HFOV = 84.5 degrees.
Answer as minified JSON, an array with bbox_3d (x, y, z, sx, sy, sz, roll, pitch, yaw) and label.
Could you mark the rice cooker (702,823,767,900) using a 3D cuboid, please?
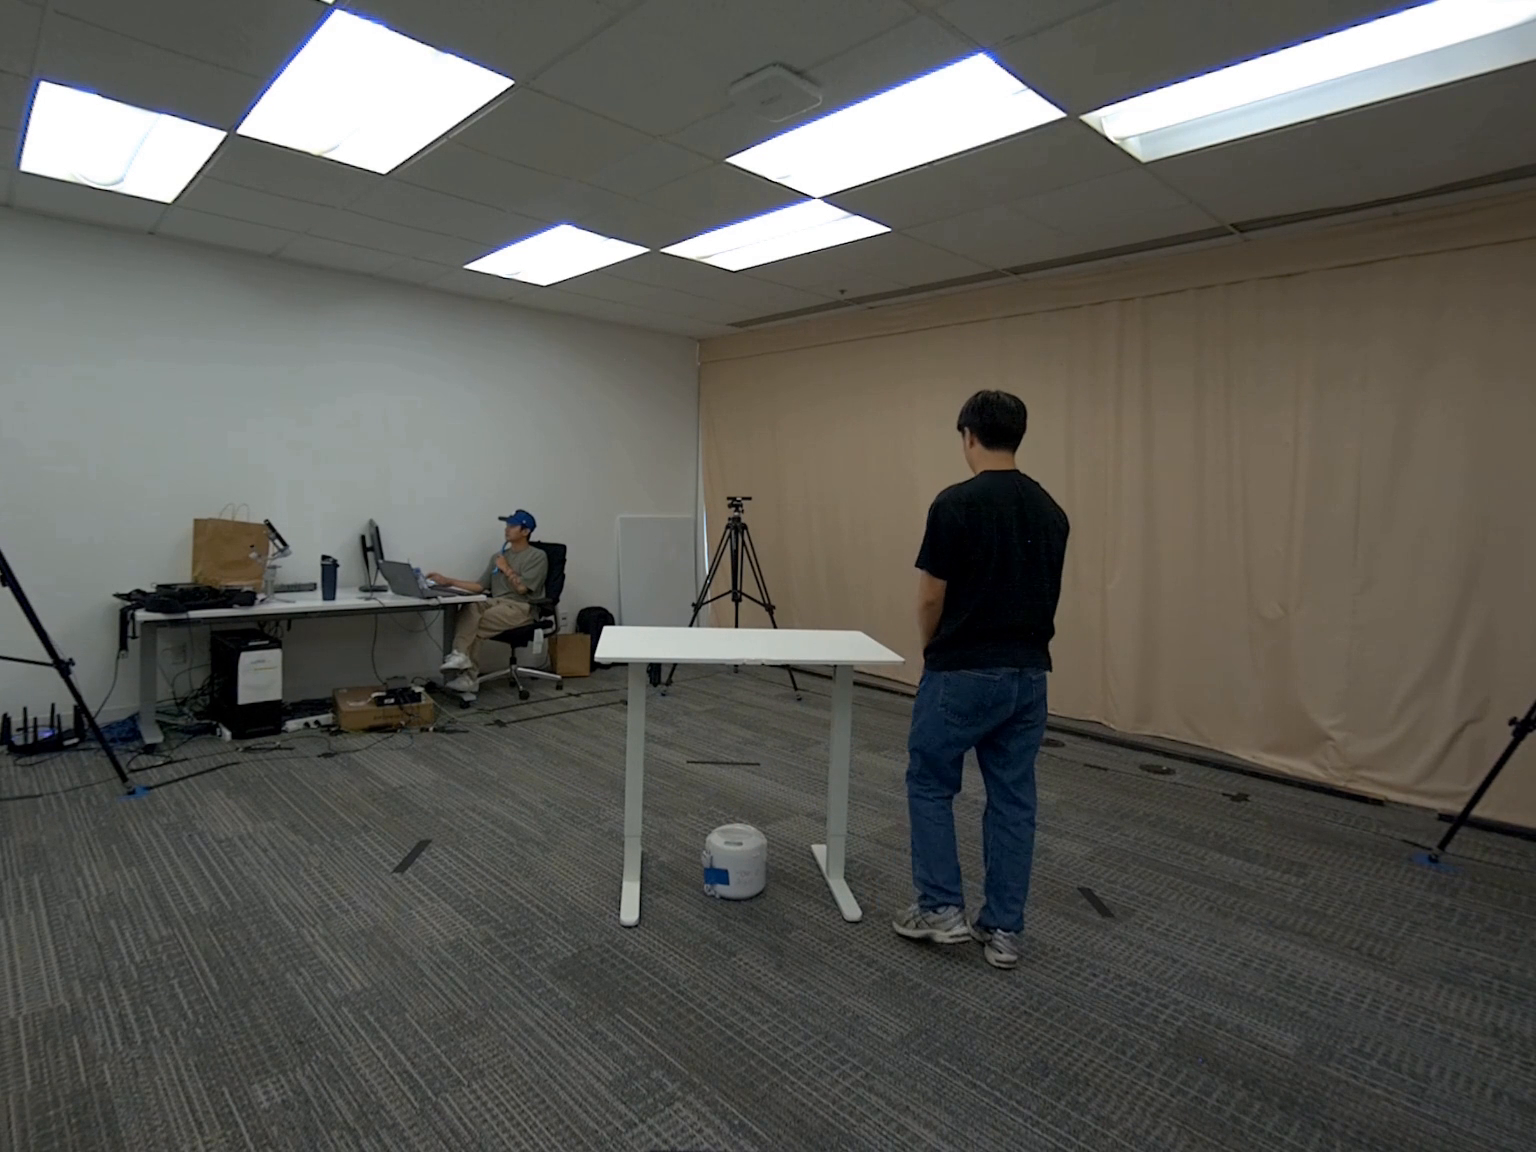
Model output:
[{"bbox_3d":[-0.118,1.000,2.991,0.223,0.232,0.216,3,6,12],"label":"rice cooker"}]
